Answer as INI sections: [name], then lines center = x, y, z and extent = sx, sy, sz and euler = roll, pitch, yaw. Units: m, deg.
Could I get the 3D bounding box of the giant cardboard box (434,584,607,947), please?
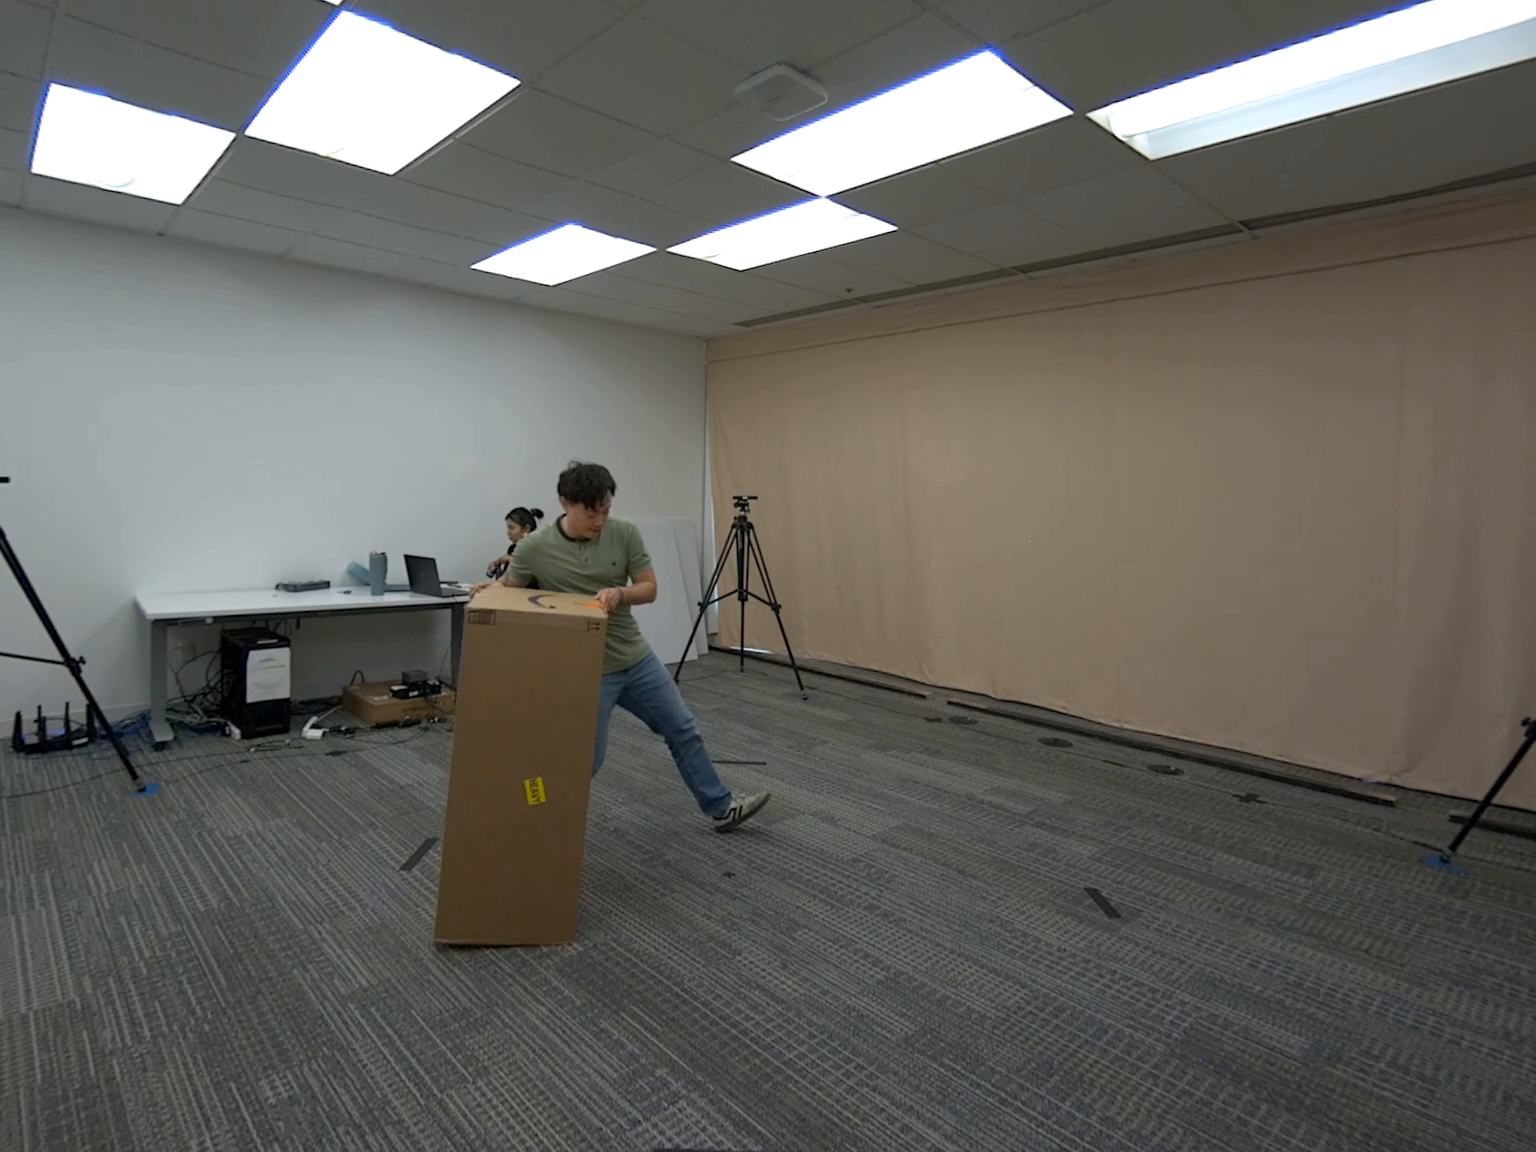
[giant cardboard box]
center = -0.821, 0.595, 2.822
extent = 0.421, 1.024, 0.585
euler = 6, 2, -14
